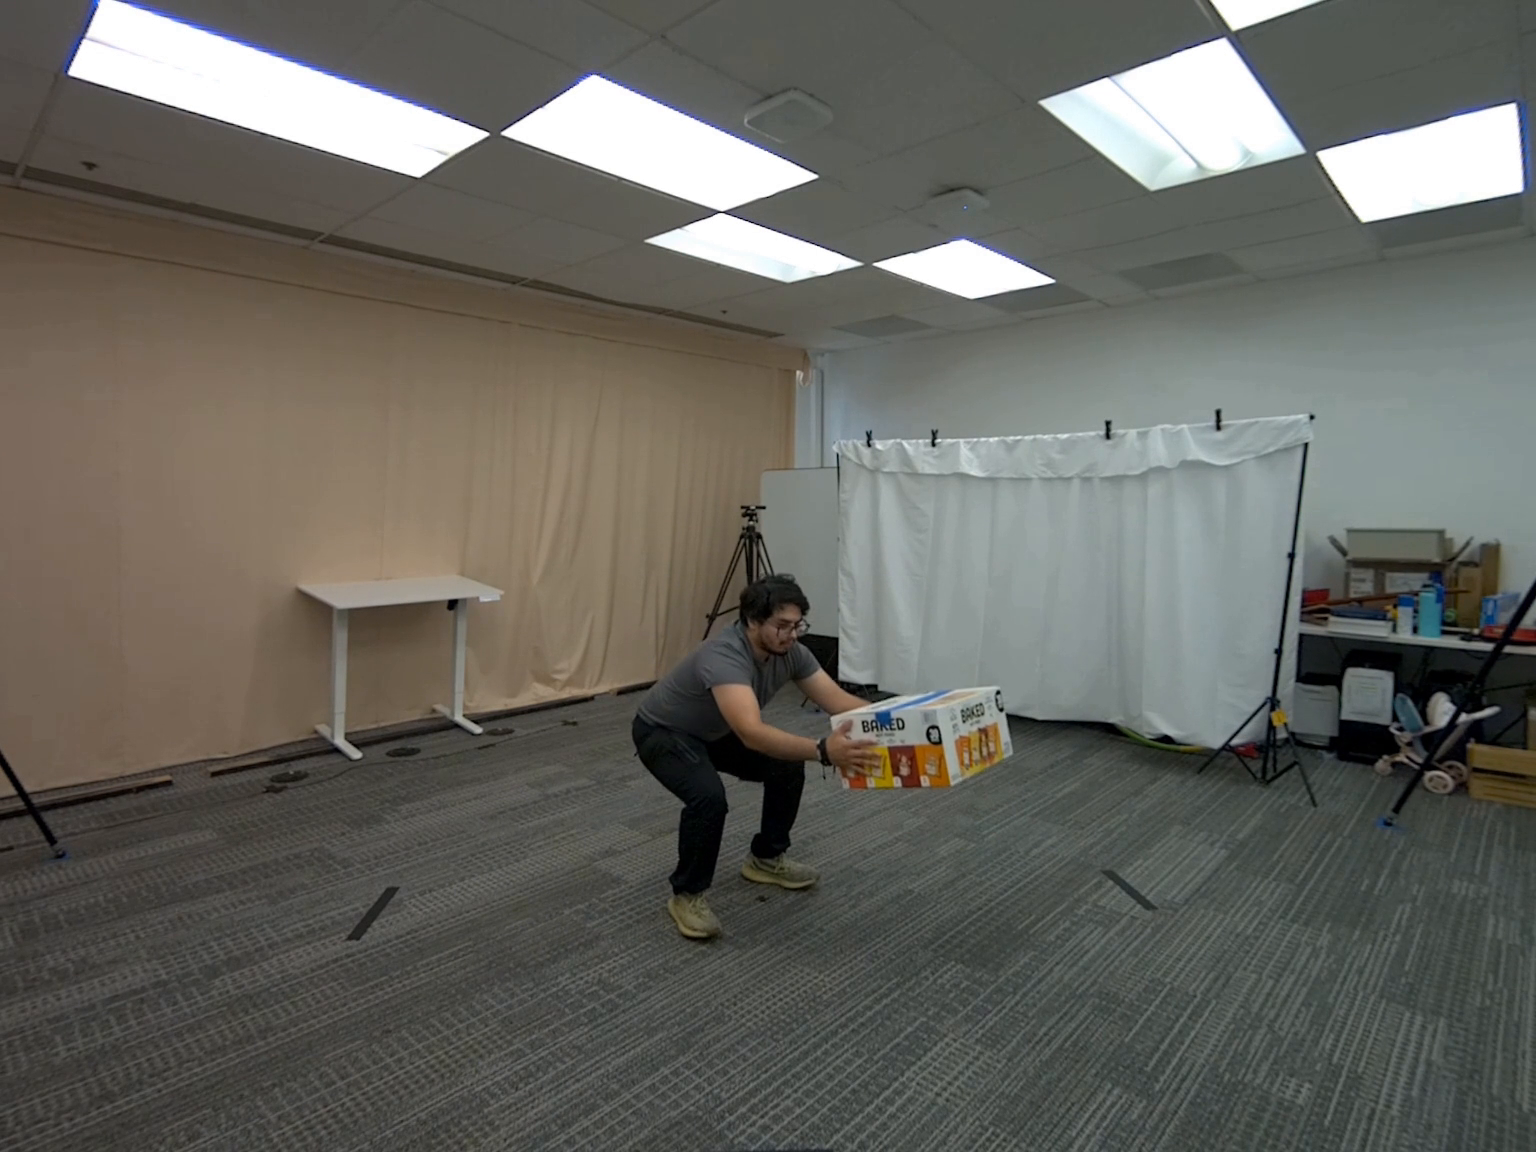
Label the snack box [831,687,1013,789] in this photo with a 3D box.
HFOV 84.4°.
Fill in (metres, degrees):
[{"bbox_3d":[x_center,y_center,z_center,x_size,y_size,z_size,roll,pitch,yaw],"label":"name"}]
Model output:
[{"bbox_3d":[0.450,0.465,2.427,0.349,0.206,0.393,-12,-6,38],"label":"snack box"}]
